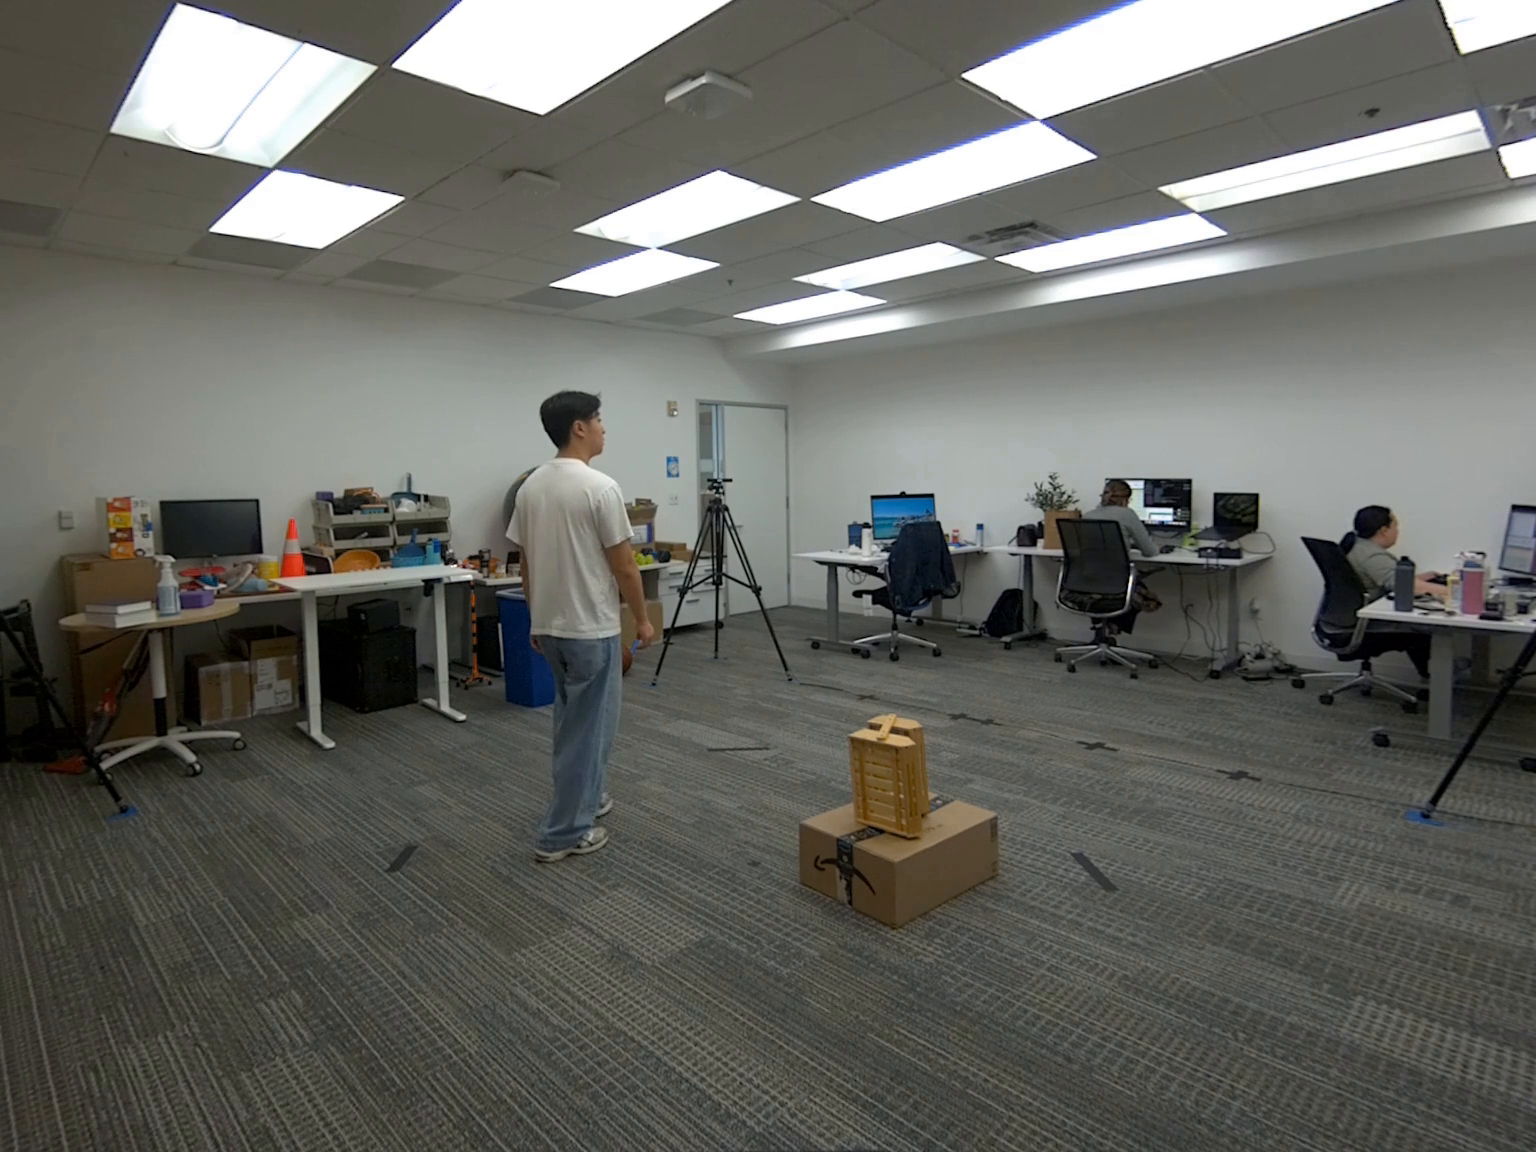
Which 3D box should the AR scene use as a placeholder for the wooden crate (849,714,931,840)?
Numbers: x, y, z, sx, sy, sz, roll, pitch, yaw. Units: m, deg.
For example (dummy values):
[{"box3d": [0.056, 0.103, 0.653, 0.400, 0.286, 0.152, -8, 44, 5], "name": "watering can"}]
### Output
[{"box3d": [0.455, 0.680, 2.955, 0.266, 0.323, 0.311, -9, 6, -43], "name": "wooden crate"}]
